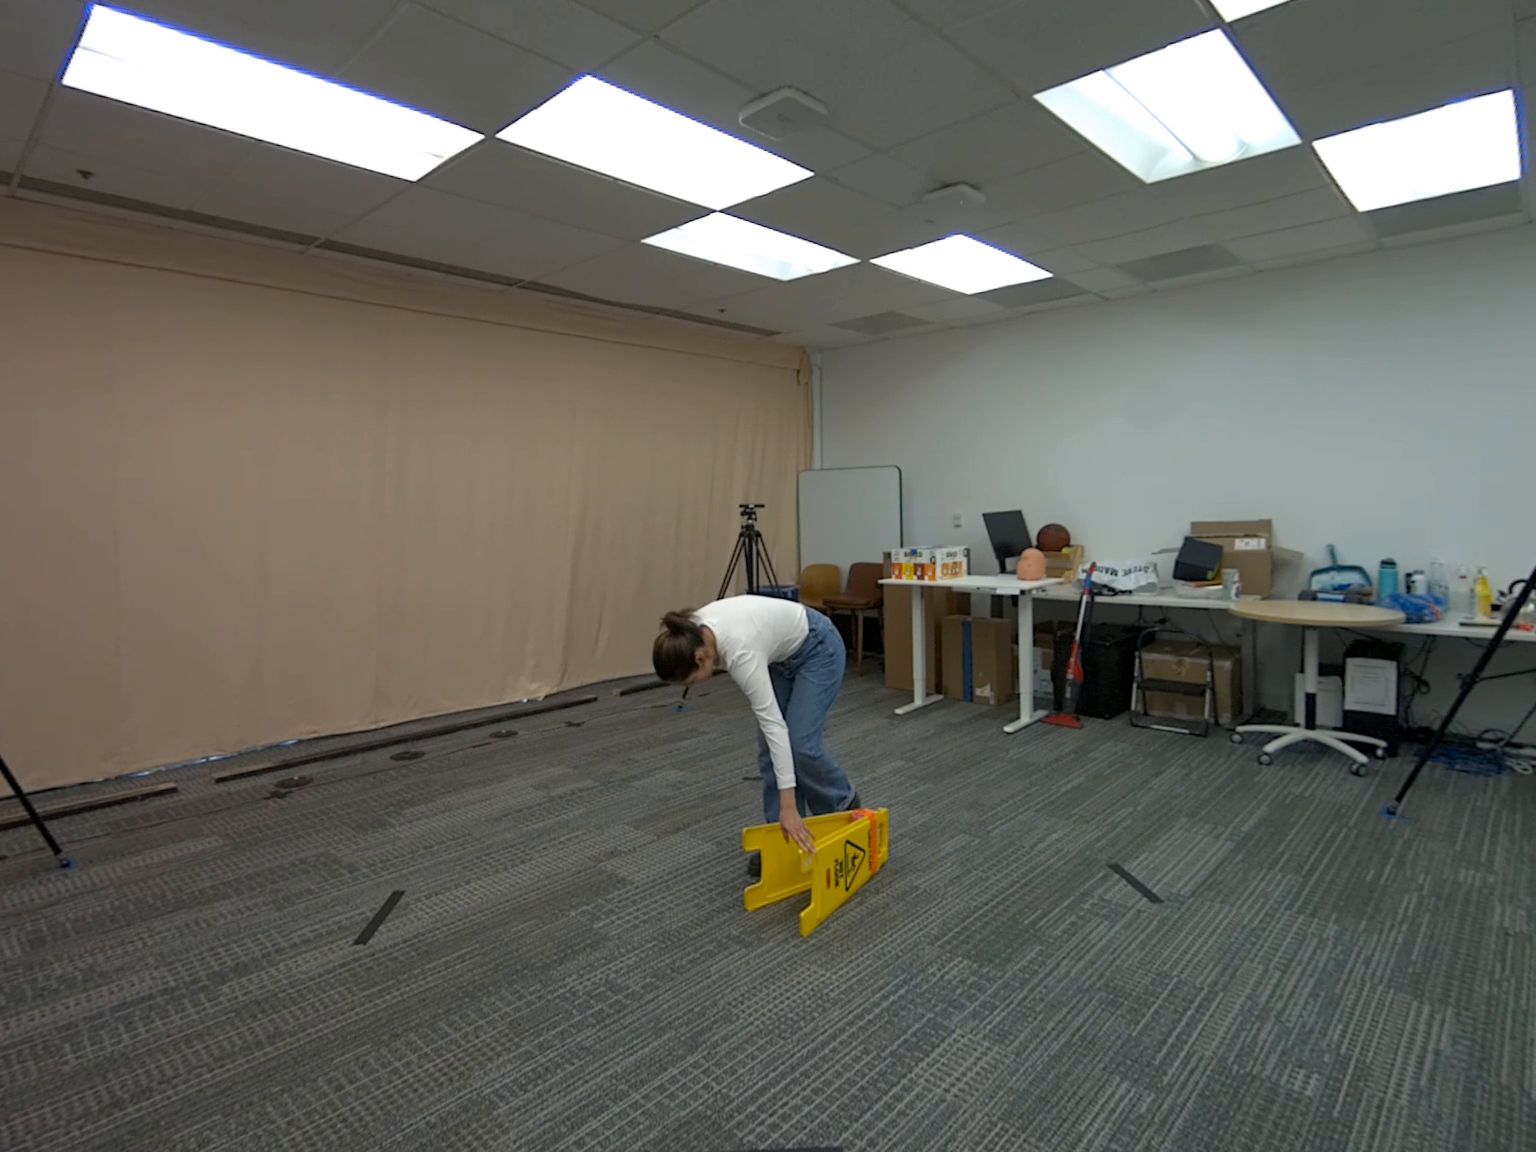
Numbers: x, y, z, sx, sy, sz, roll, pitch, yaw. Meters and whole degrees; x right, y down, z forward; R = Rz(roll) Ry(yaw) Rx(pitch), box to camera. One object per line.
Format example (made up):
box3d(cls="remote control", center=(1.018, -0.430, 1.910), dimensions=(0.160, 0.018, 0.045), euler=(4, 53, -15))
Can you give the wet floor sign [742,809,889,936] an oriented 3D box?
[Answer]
box3d(cls="wet floor sign", center=(0.233, 1.001, 3.016), dimensions=(0.626, 0.282, 0.299), euler=(-3, 4, -45))
